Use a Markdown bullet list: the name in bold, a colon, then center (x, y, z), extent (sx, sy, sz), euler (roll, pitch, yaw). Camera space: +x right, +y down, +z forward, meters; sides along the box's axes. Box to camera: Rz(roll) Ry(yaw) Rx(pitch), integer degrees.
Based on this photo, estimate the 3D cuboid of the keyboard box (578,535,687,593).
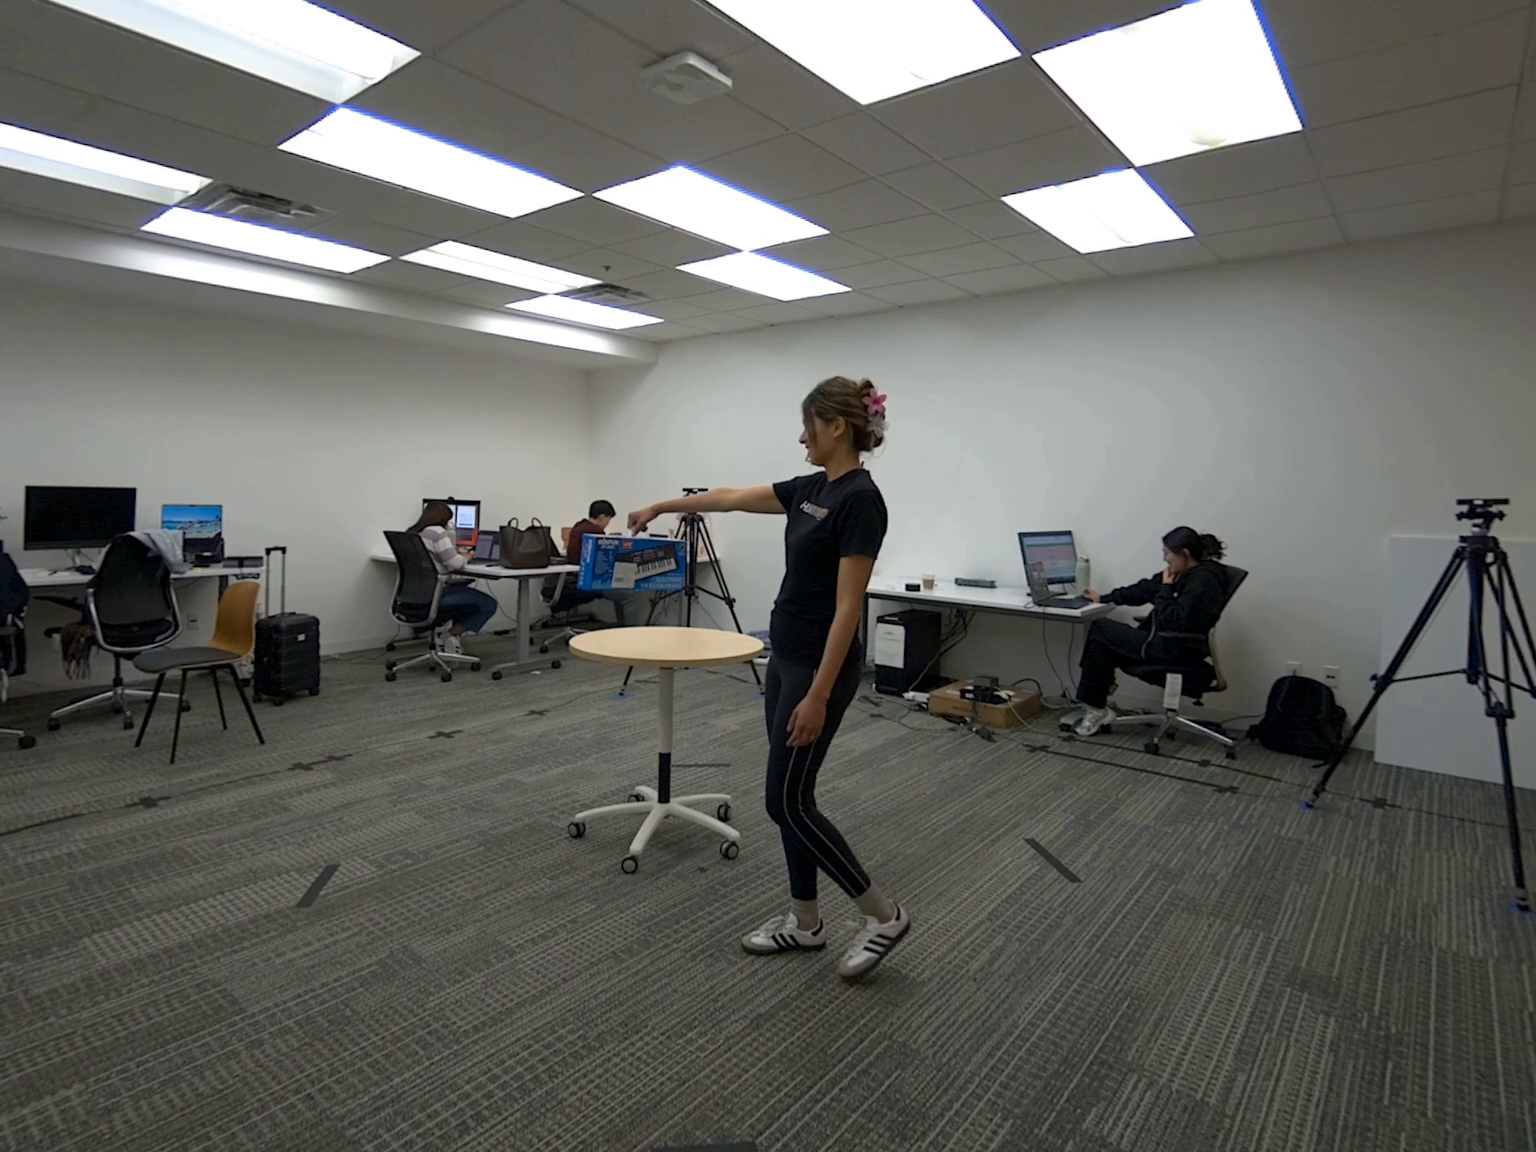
- **keyboard box**: center (-0.445, -0.041, 2.808), extent (0.061, 0.175, 0.423), euler (7, 4, 36)
